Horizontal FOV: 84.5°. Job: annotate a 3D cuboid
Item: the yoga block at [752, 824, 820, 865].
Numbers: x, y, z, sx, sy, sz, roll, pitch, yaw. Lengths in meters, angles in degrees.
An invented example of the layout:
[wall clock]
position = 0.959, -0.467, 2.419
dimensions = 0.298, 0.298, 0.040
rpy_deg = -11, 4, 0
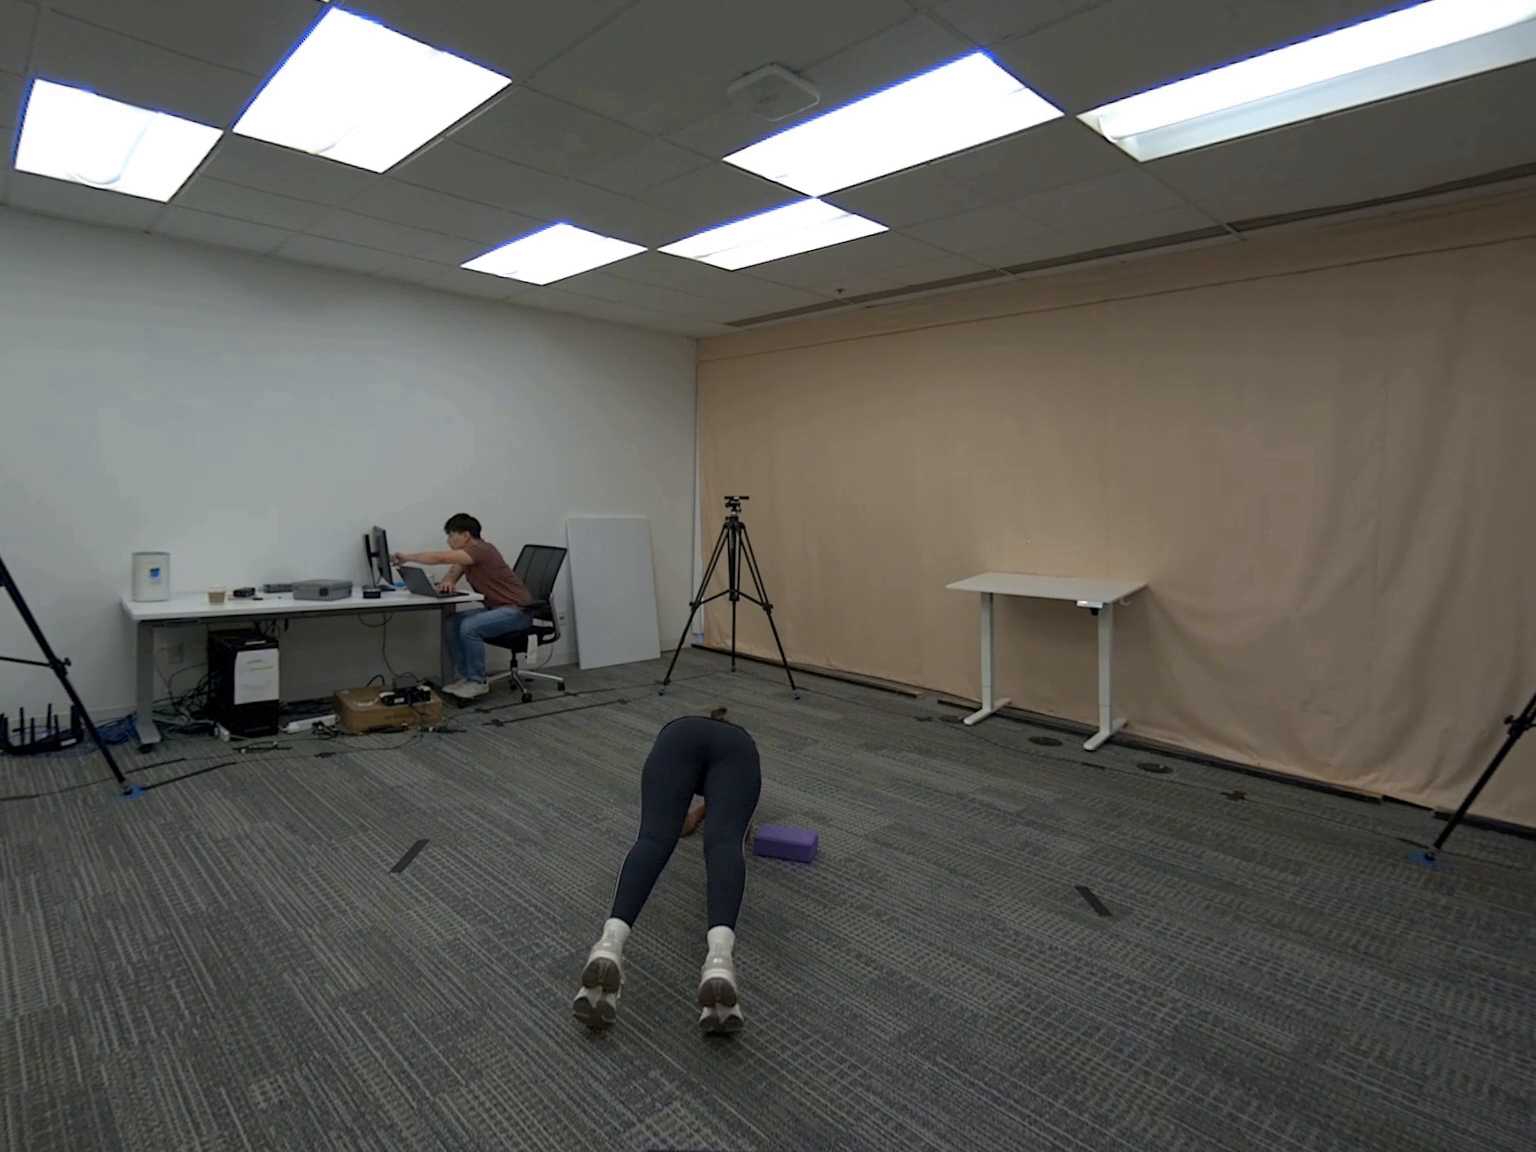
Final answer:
[yoga block]
position = 0.060, 1.046, 3.309
dimensions = 0.232, 0.076, 0.147
rpy_deg = 2, 4, 17
